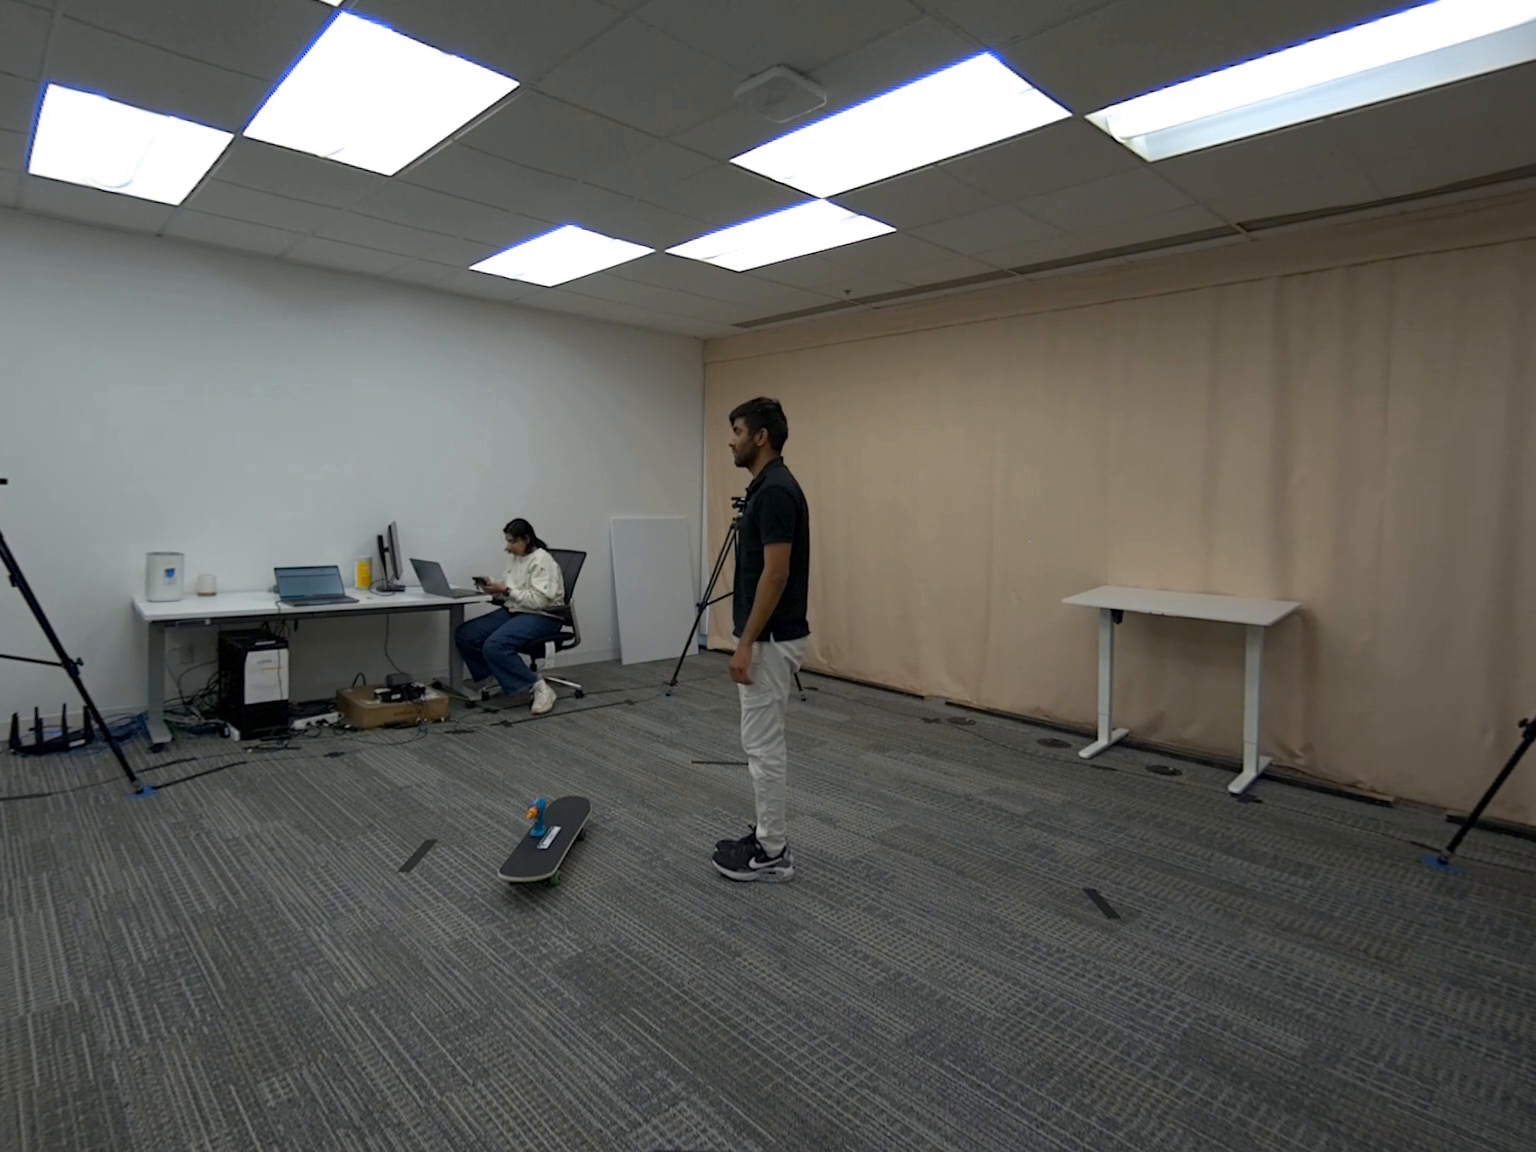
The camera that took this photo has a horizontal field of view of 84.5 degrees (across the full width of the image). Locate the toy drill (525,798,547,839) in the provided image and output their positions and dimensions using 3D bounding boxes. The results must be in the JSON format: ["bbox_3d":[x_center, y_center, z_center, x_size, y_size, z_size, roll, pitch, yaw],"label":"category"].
[{"bbox_3d":[-0.878,0.915,3.177,0.061,0.145,0.170,4,5,3],"label":"toy drill"}]
